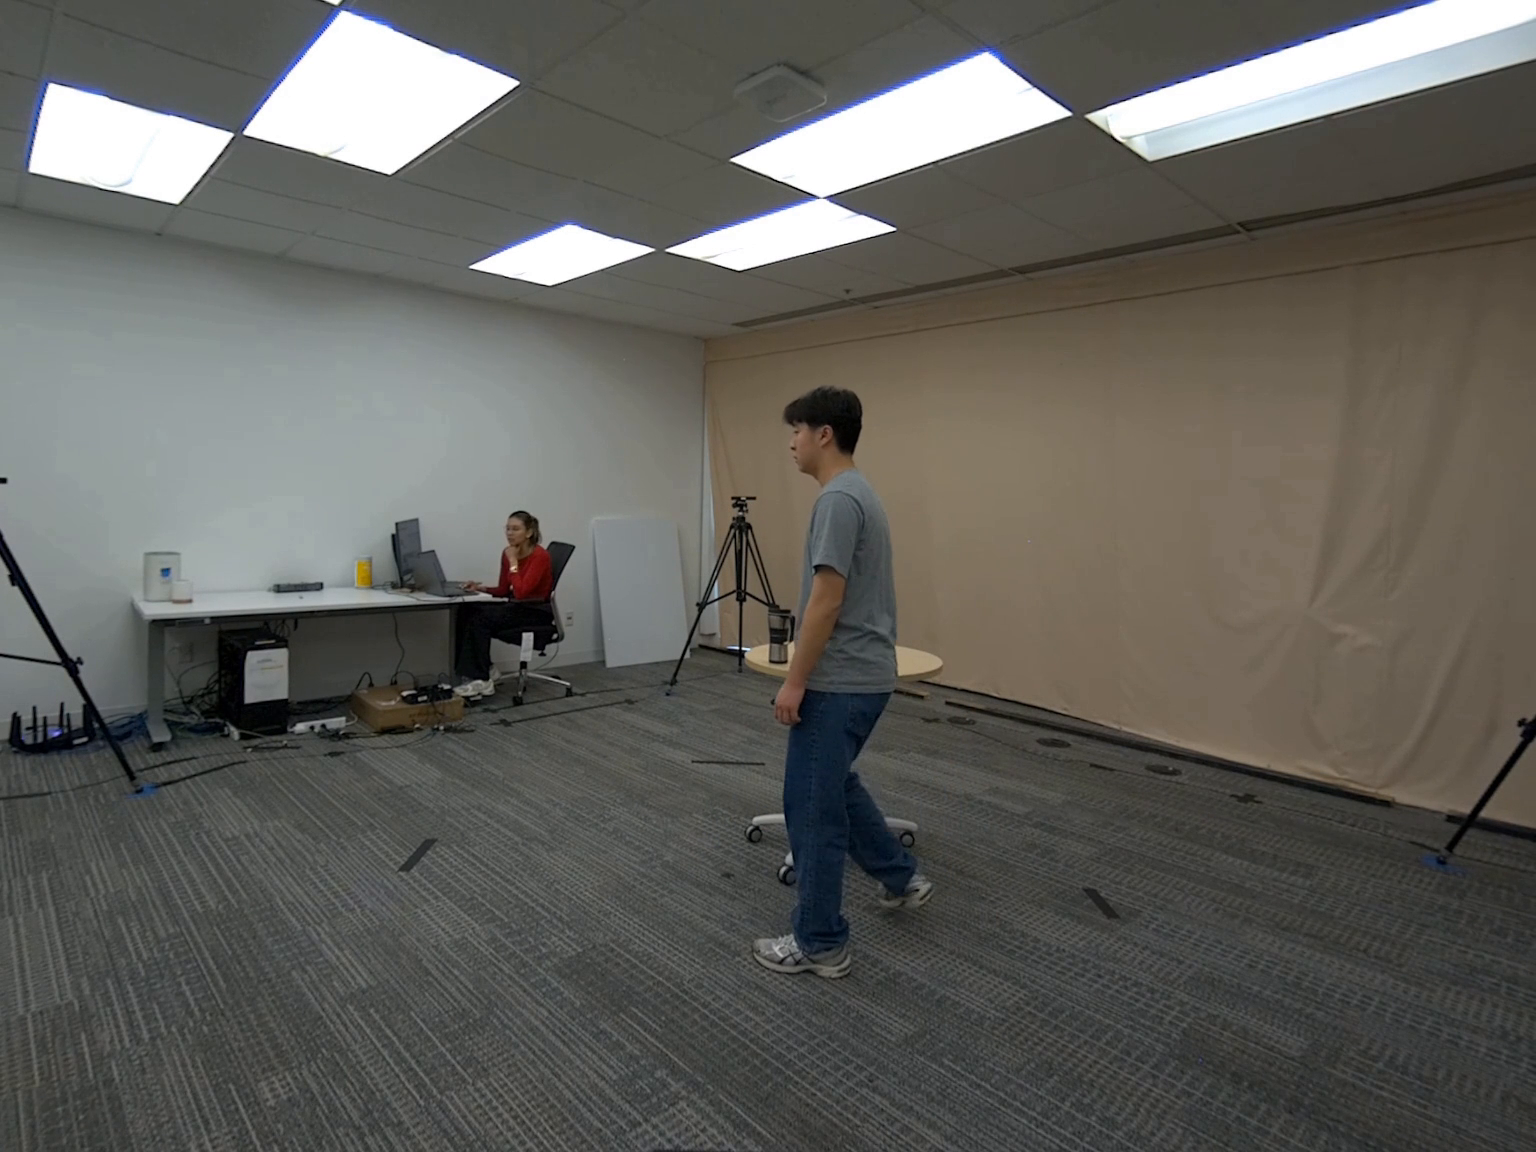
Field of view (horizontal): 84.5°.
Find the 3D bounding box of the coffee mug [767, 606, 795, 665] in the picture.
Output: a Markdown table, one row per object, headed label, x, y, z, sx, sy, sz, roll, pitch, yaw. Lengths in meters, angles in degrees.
| label | x | y | z | sx | sy | sz | roll | pitch | yaw |
| --- | --- | --- | --- | --- | --- | --- | --- | --- | --- |
| coffee mug | 0.039 | 0.229 | 3.127 | 0.086 | 0.203 | 0.124 | 4 | 0 | -20 |
